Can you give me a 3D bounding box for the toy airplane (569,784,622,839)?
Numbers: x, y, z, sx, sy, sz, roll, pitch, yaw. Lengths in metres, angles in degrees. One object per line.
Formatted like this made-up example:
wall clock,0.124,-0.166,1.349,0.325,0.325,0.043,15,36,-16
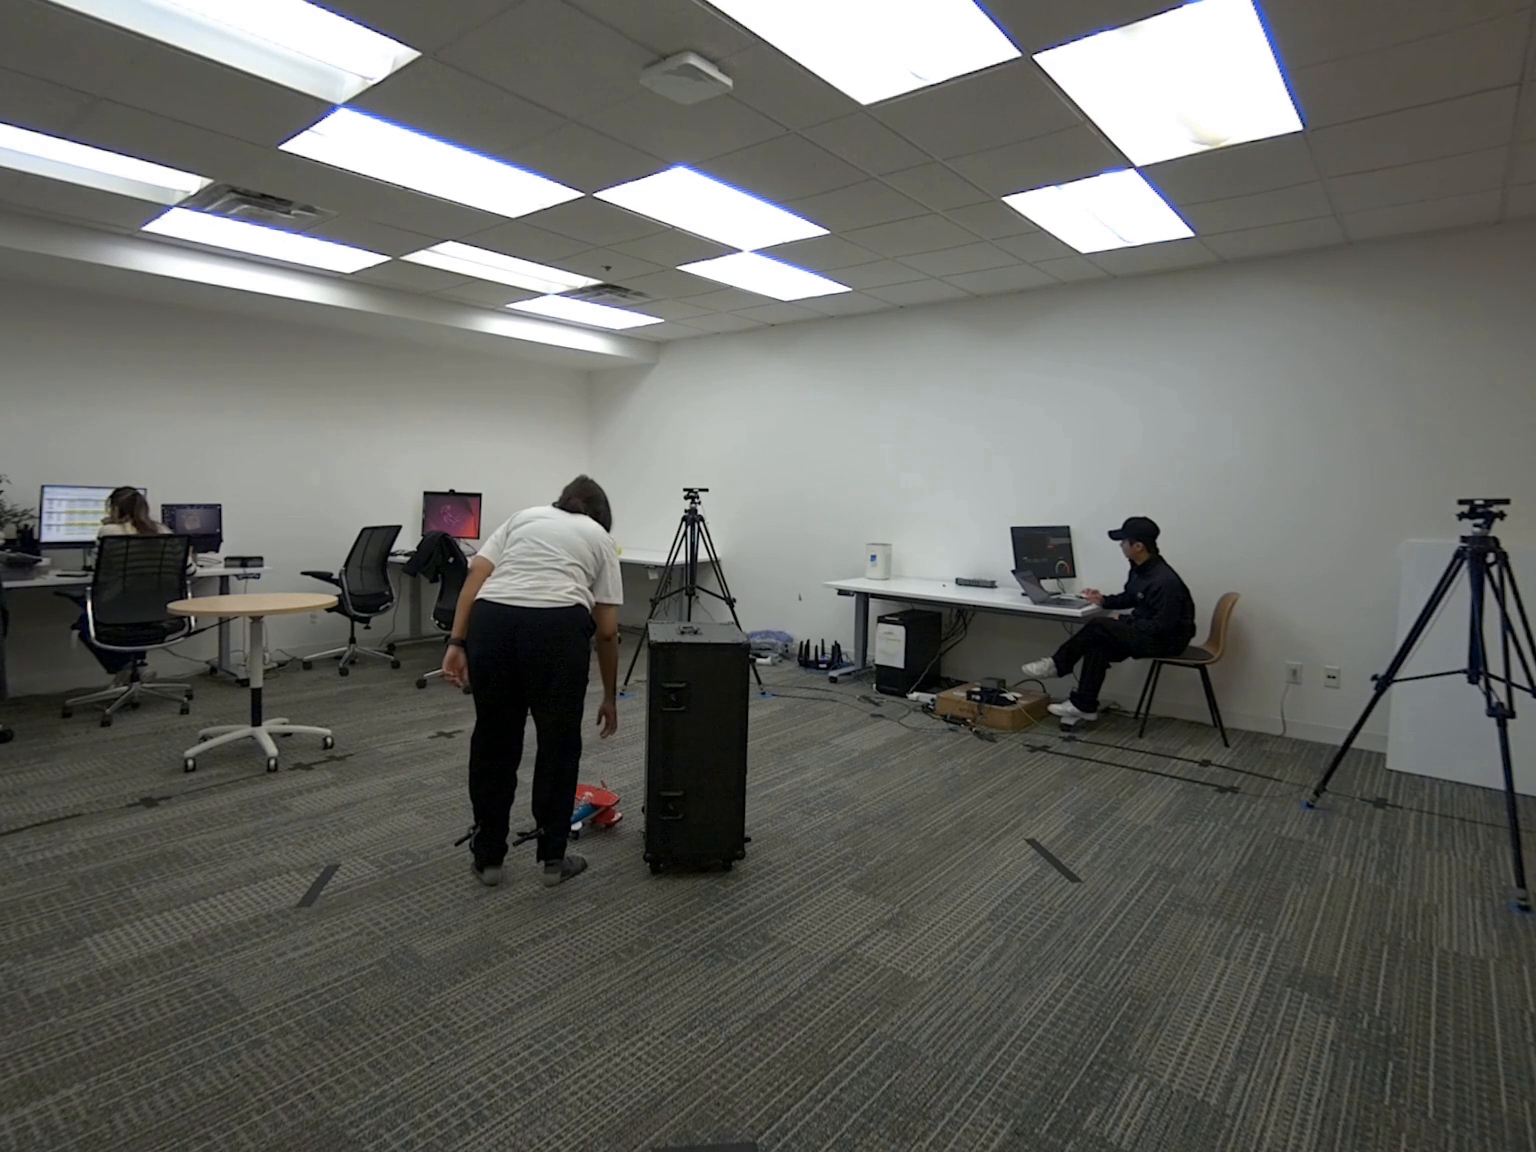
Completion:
toy airplane,-0.723,0.959,3.447,0.253,0.156,0.258,1,4,5
